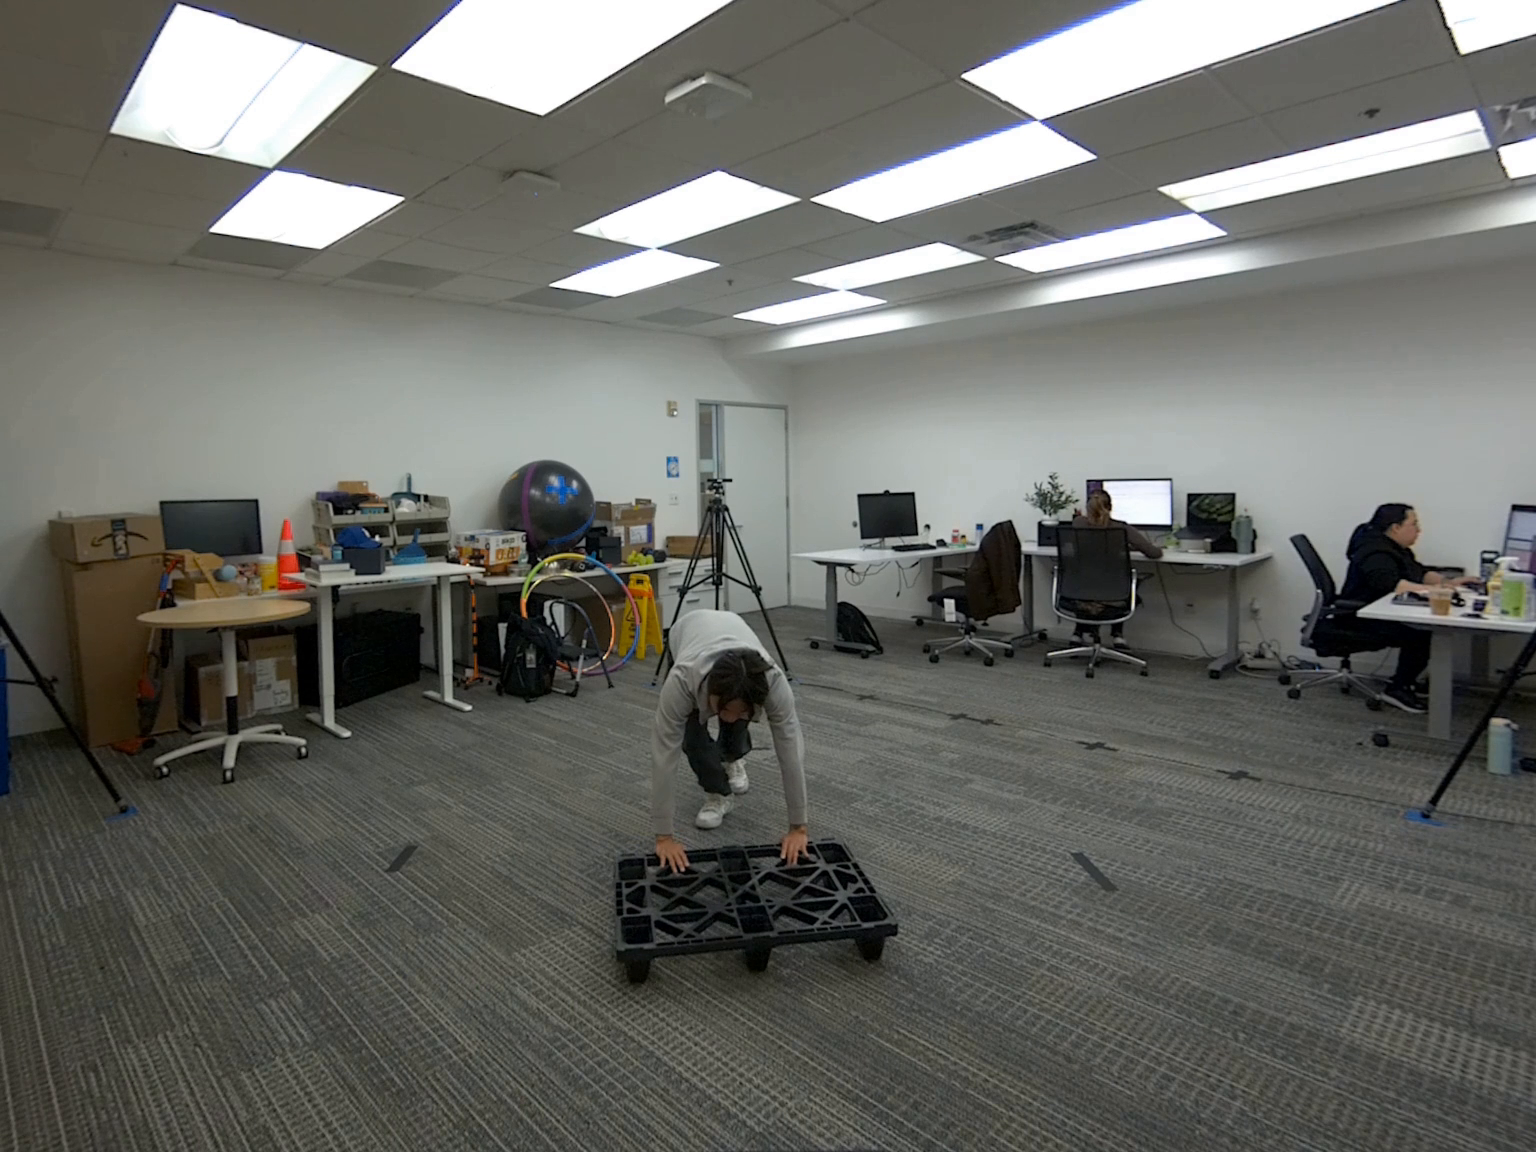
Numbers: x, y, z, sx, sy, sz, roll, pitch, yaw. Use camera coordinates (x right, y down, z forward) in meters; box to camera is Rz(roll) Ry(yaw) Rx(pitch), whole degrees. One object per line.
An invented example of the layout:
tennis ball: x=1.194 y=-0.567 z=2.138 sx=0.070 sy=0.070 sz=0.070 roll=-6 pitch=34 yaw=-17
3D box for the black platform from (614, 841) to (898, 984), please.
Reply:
black platform: x=-0.068 y=1.028 z=2.652 sx=0.799 sy=0.142 sz=0.613 roll=-3 pitch=7 yaw=-9
